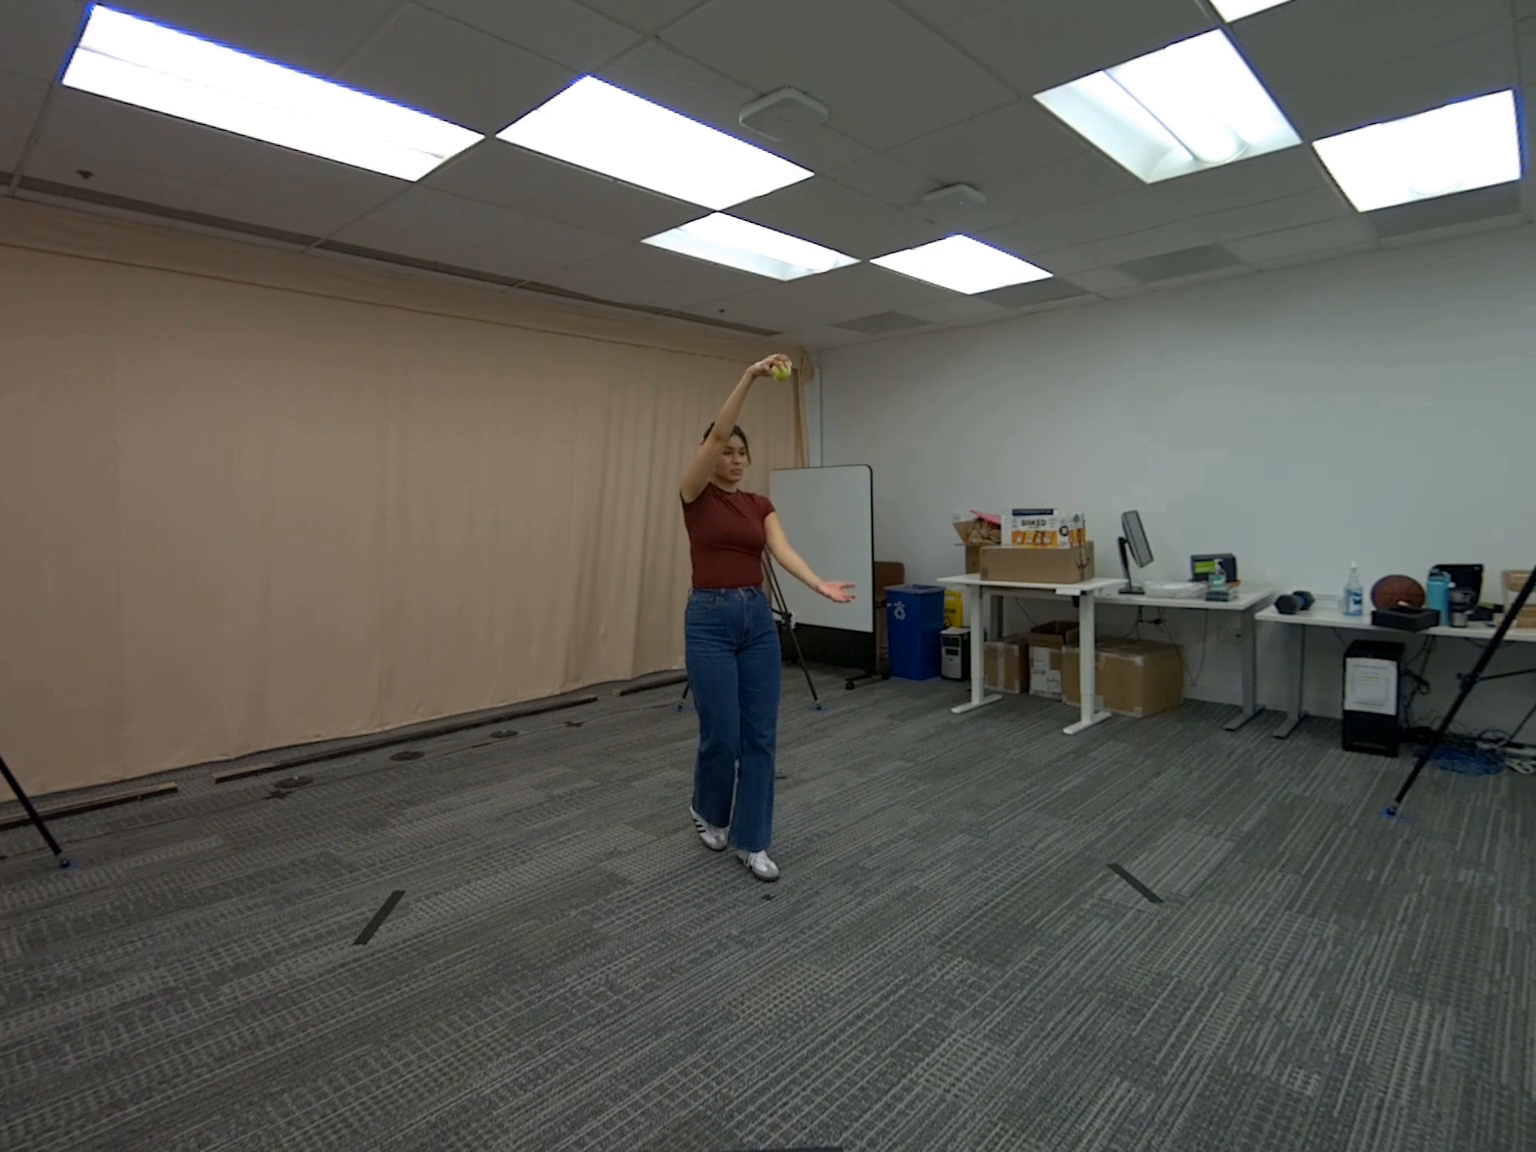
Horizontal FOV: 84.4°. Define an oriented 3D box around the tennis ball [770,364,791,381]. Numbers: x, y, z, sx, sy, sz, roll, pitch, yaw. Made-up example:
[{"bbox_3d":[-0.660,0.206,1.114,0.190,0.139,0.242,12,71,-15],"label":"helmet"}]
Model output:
[{"bbox_3d":[0.017,-0.717,2.915,0.066,0.066,0.067,-1,4,-2],"label":"tennis ball"}]
